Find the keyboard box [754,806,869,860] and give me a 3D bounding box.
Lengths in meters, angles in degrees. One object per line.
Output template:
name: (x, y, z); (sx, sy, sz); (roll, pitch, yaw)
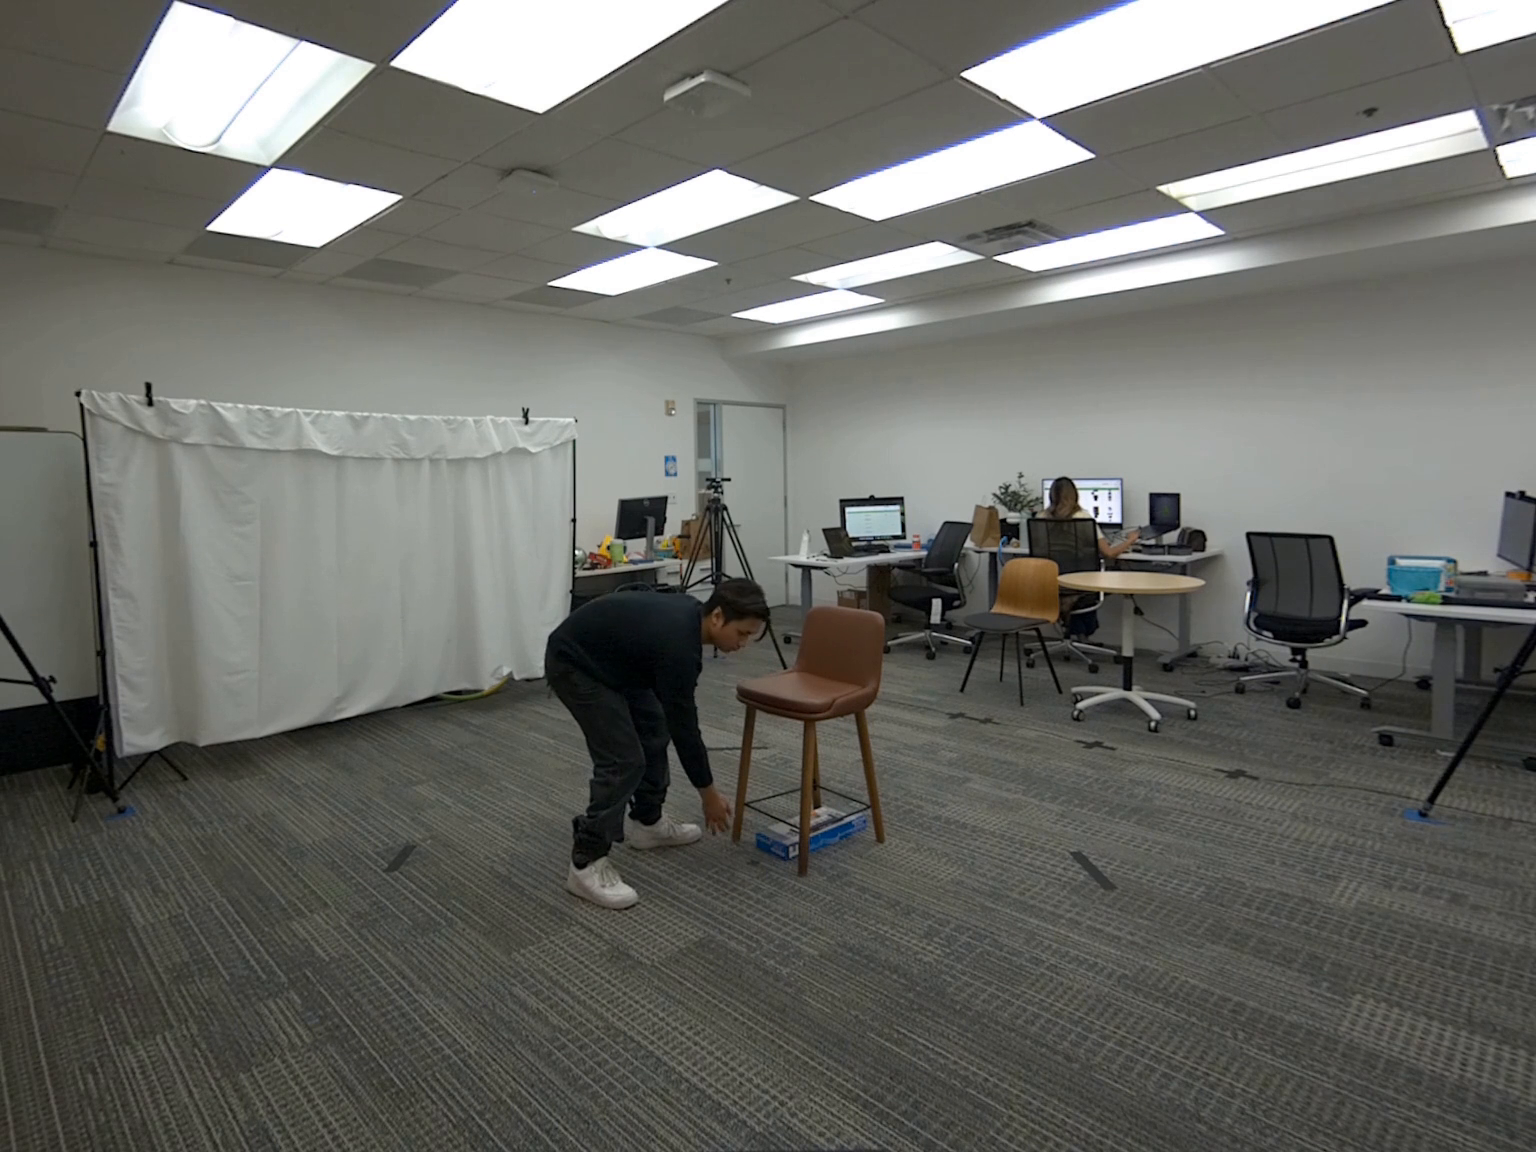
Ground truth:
keyboard box: (0.171, 0.984, 3.317); (0.425, 0.059, 0.181); (-7, 8, -40)
